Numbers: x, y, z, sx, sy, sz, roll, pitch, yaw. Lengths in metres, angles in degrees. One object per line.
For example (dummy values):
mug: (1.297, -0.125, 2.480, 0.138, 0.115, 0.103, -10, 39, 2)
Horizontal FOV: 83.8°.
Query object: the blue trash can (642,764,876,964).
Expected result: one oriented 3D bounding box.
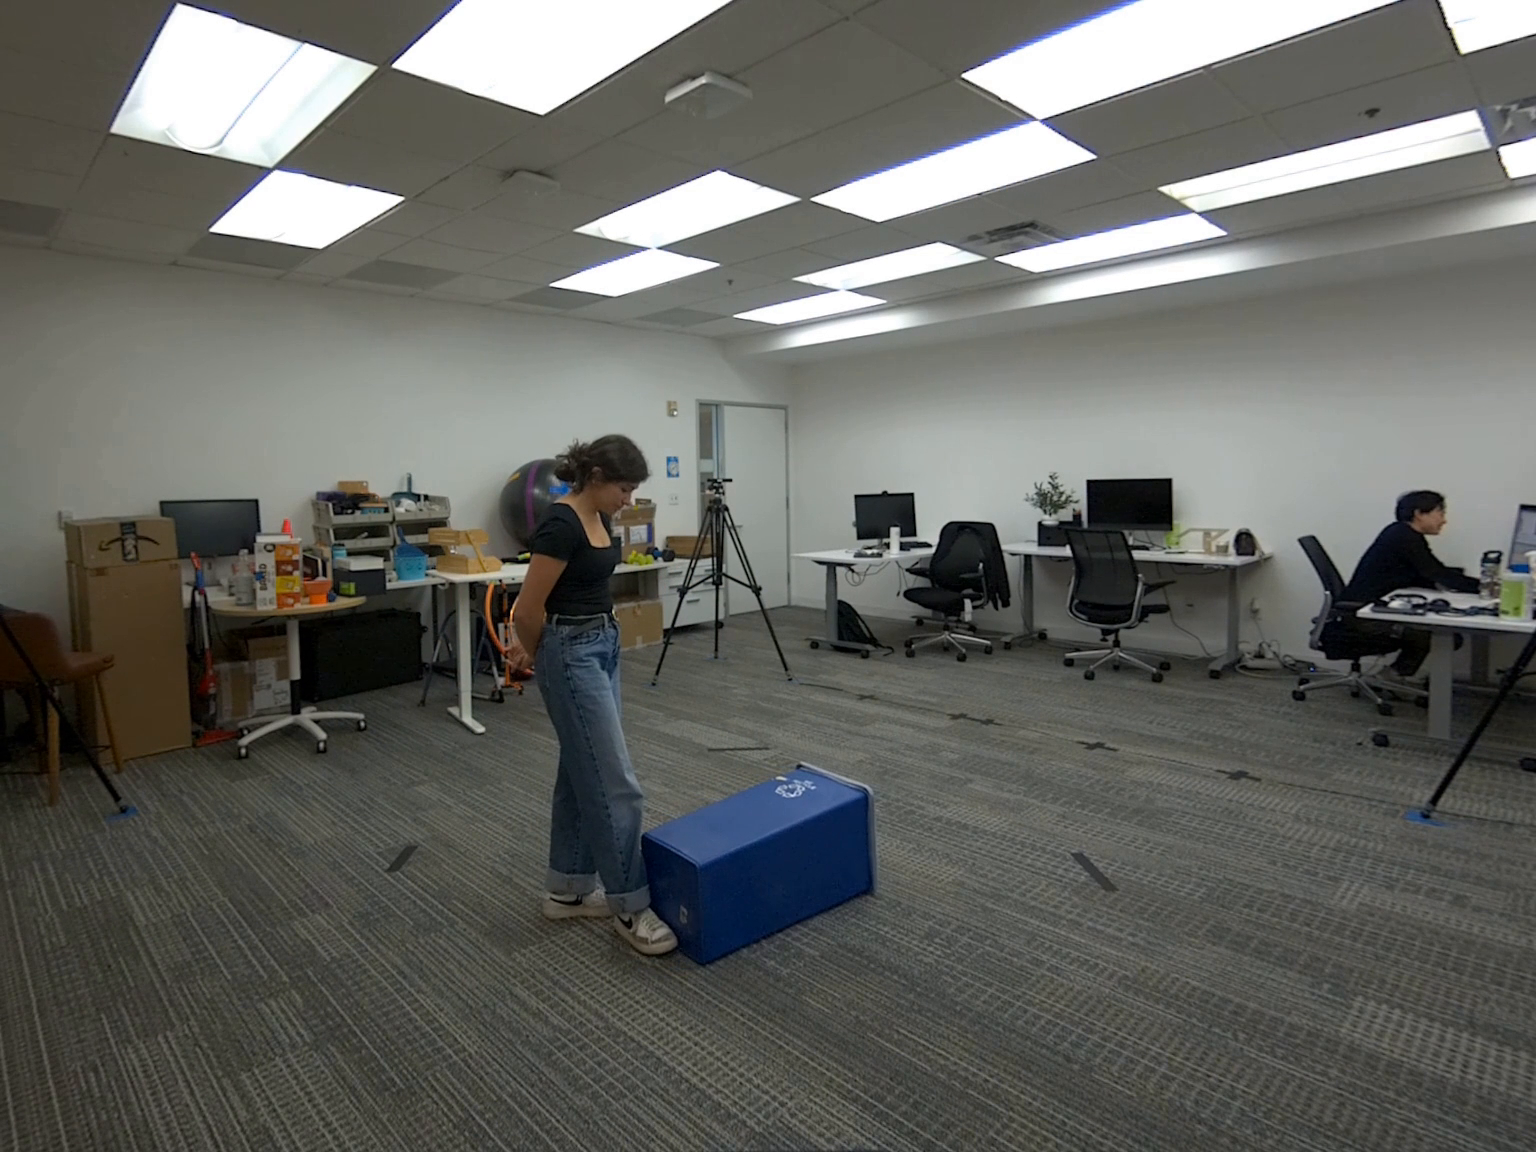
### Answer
blue trash can: (-0.018, 0.919, 2.768, 0.696, 0.376, 0.386, -10, 10, -39)
